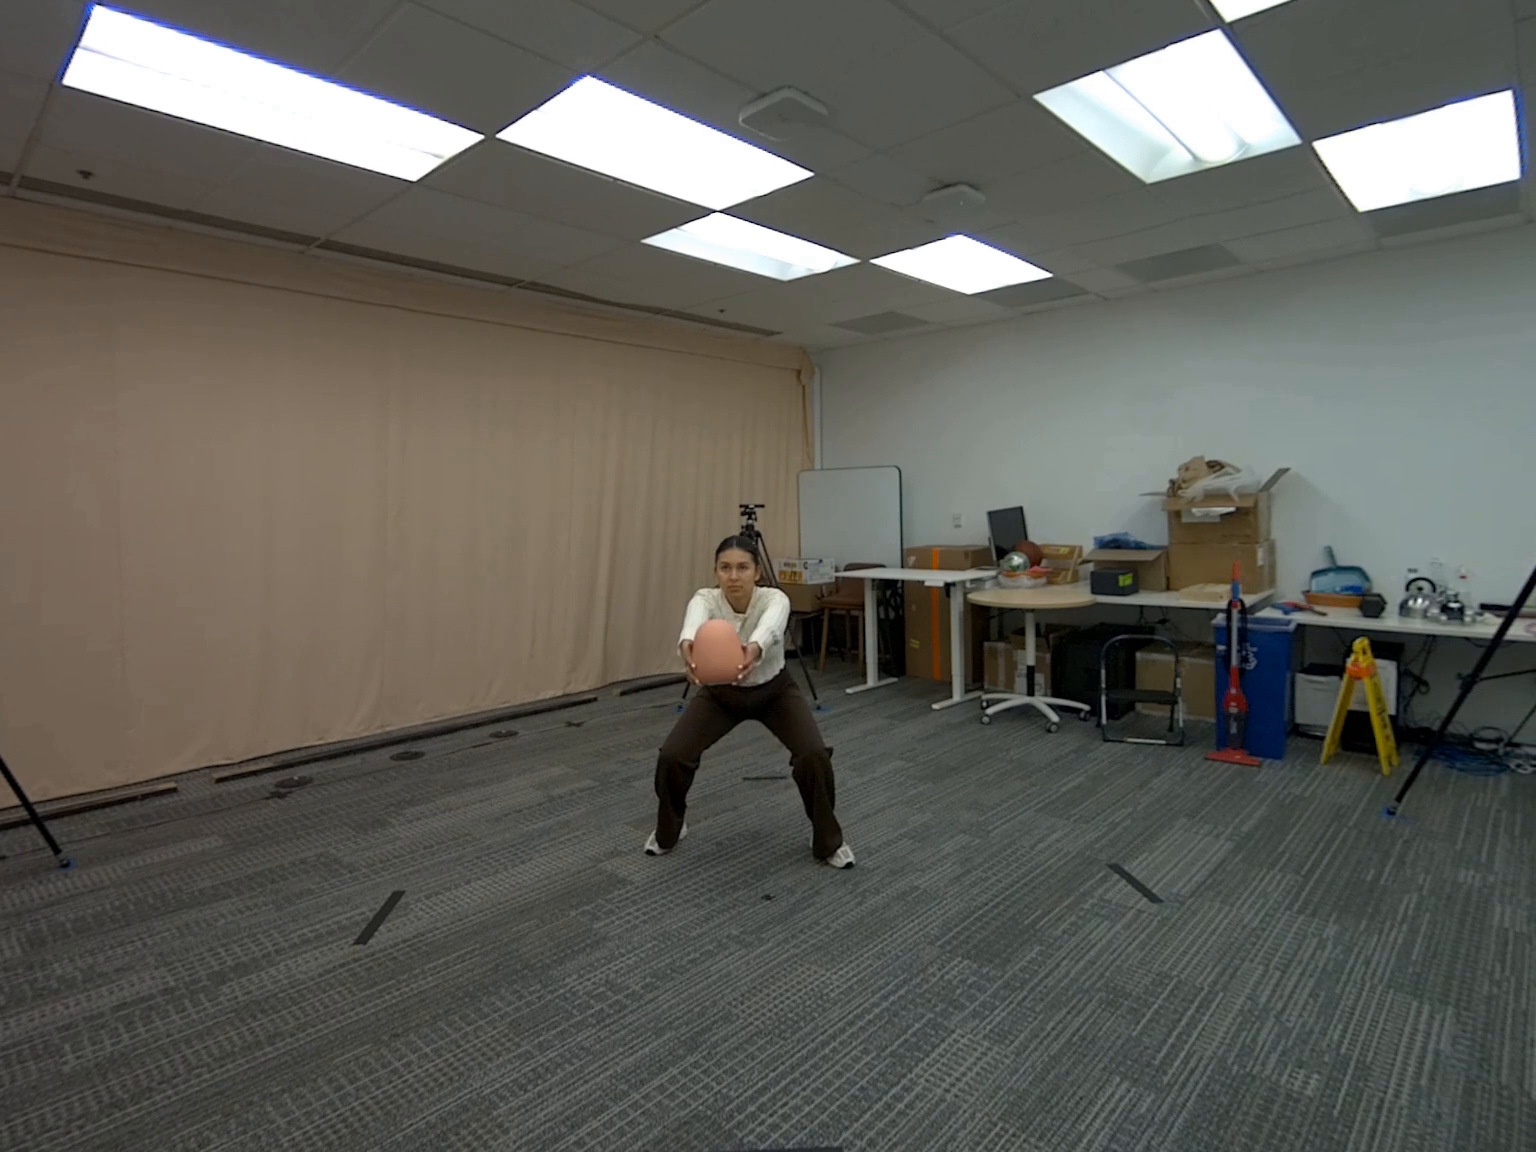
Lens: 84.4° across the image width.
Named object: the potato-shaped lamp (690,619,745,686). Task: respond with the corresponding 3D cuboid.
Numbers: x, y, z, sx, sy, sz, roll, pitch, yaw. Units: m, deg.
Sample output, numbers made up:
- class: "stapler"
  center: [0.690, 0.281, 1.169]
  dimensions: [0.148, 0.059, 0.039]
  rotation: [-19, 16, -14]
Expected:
- class: "potato-shaped lamp"
  center: [-0.161, 0.221, 2.591]
  dimensions: [0.166, 0.200, 0.169]
  rotation: [-4, -12, 5]
